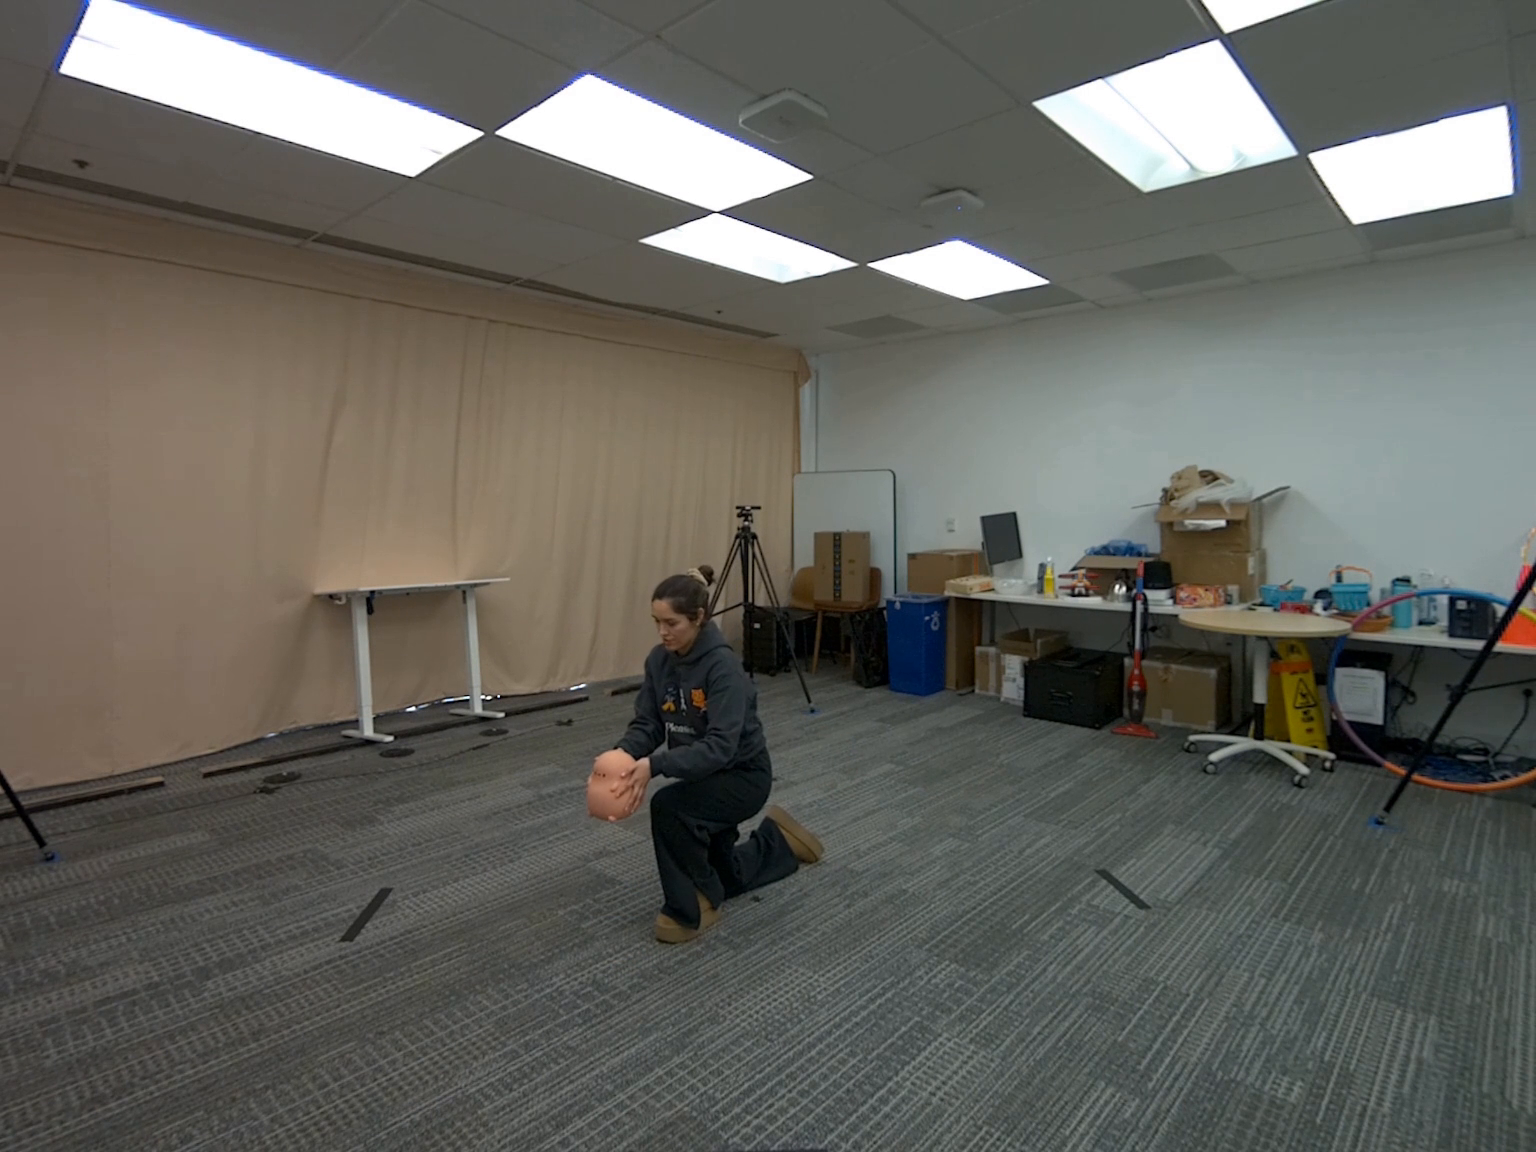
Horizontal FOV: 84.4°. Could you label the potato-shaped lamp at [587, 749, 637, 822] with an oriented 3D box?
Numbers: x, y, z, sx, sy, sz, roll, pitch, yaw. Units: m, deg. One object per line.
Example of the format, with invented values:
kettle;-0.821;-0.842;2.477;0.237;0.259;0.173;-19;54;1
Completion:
potato-shaped lamp;-0.463;0.642;2.606;0.170;0.198;0.166;-1;3;42
